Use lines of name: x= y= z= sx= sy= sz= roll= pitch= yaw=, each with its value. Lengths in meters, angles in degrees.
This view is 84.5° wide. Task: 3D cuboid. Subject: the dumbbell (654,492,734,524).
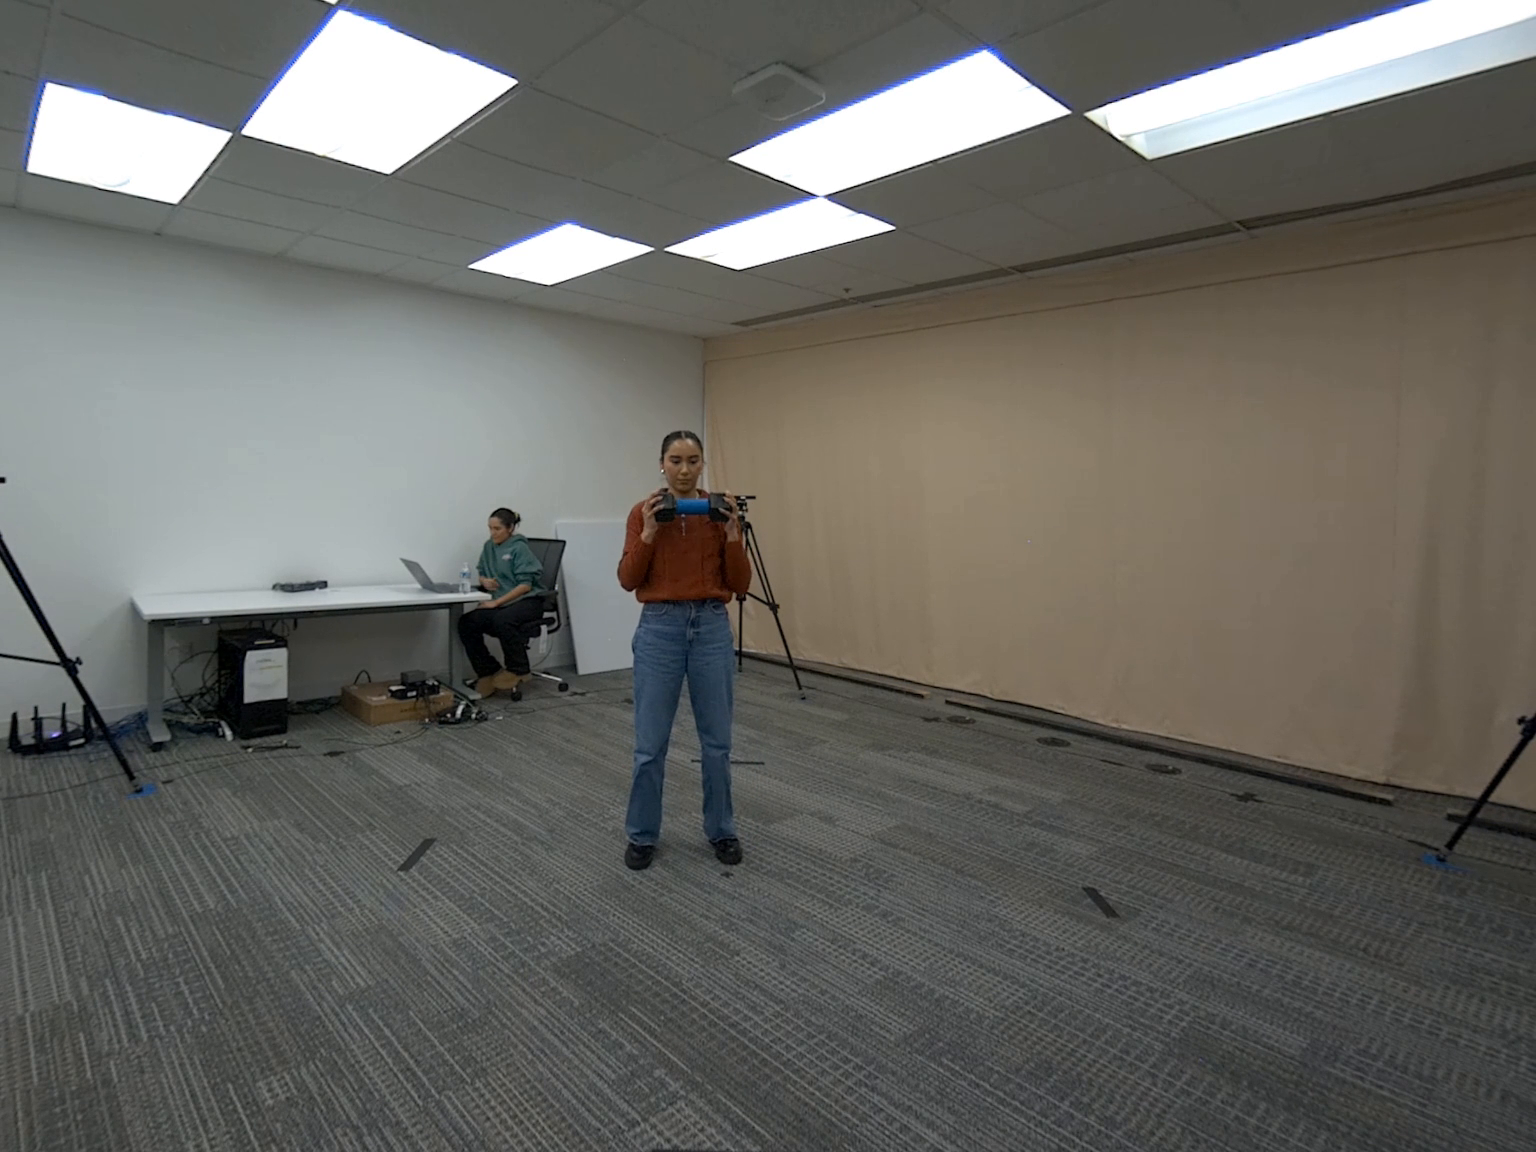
dumbbell: x=-0.300 y=-0.268 z=3.126 sx=0.291 sy=0.125 sz=0.107 roll=-2 pitch=-27 yaw=-9
